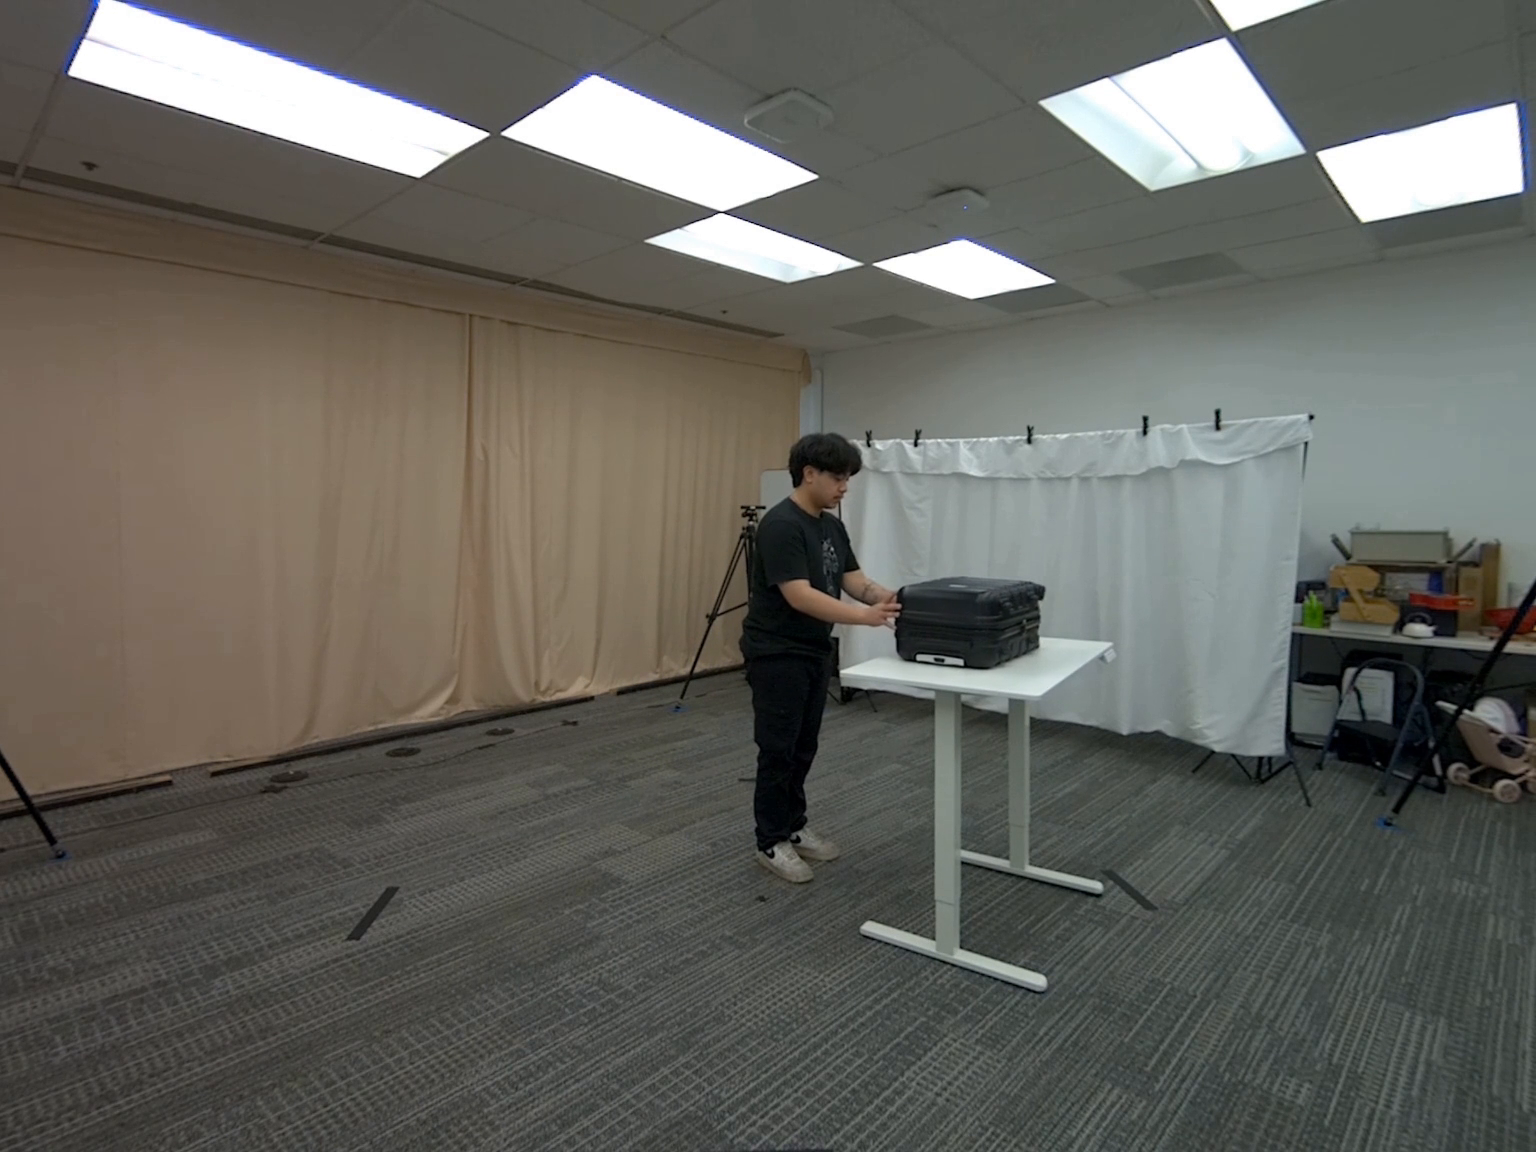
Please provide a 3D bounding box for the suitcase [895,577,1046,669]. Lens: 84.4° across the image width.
[{"bbox_3d":[0.704,0.155,2.858,0.387,0.248,0.533,4,6,37],"label":"suitcase"}]
